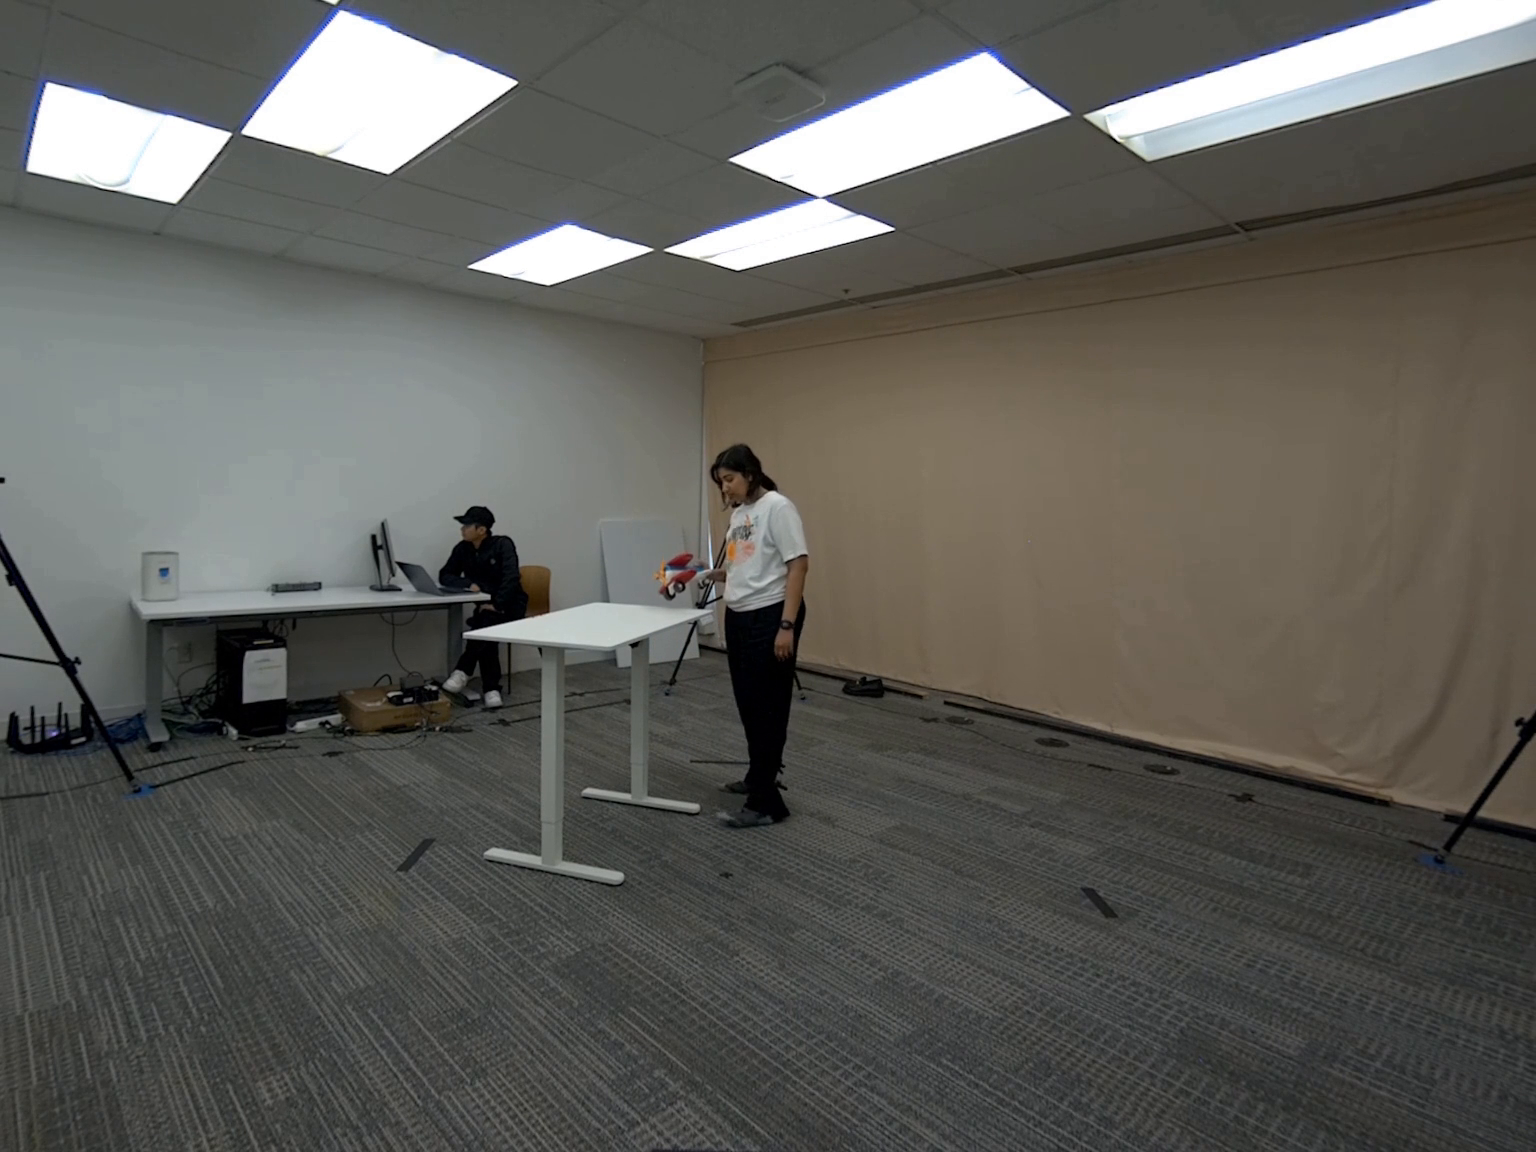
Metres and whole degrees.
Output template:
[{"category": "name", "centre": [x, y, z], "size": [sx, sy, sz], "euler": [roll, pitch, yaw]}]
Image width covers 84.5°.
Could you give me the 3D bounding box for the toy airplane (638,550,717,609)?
[{"category": "toy airplane", "centre": [-0.400, 0.010, 3.849], "size": [0.252, 0.158, 0.255], "euler": [-30, -9, 17]}]
